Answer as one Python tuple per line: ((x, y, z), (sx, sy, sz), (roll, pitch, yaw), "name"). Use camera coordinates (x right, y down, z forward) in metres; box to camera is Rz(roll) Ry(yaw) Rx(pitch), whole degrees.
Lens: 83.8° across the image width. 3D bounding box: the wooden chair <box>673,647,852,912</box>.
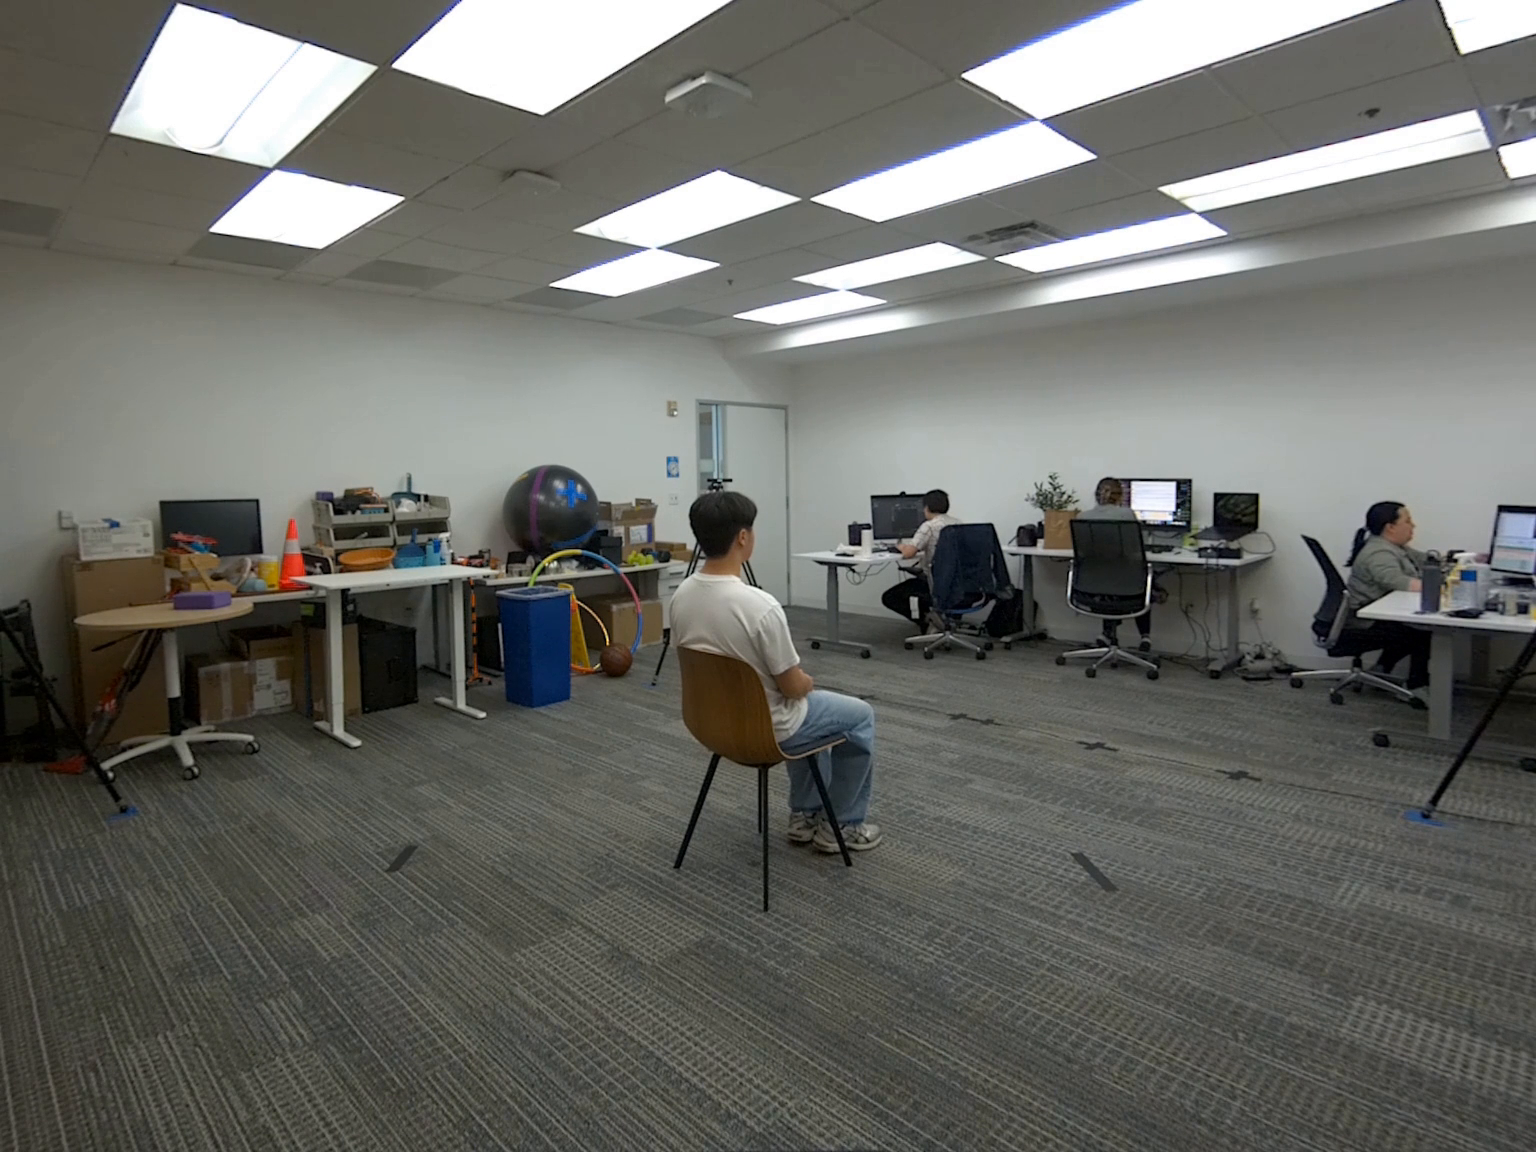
((-0.022, 0.626, 3.040), (0.493, 0.870, 0.511), (4, 12, 44), "wooden chair")
